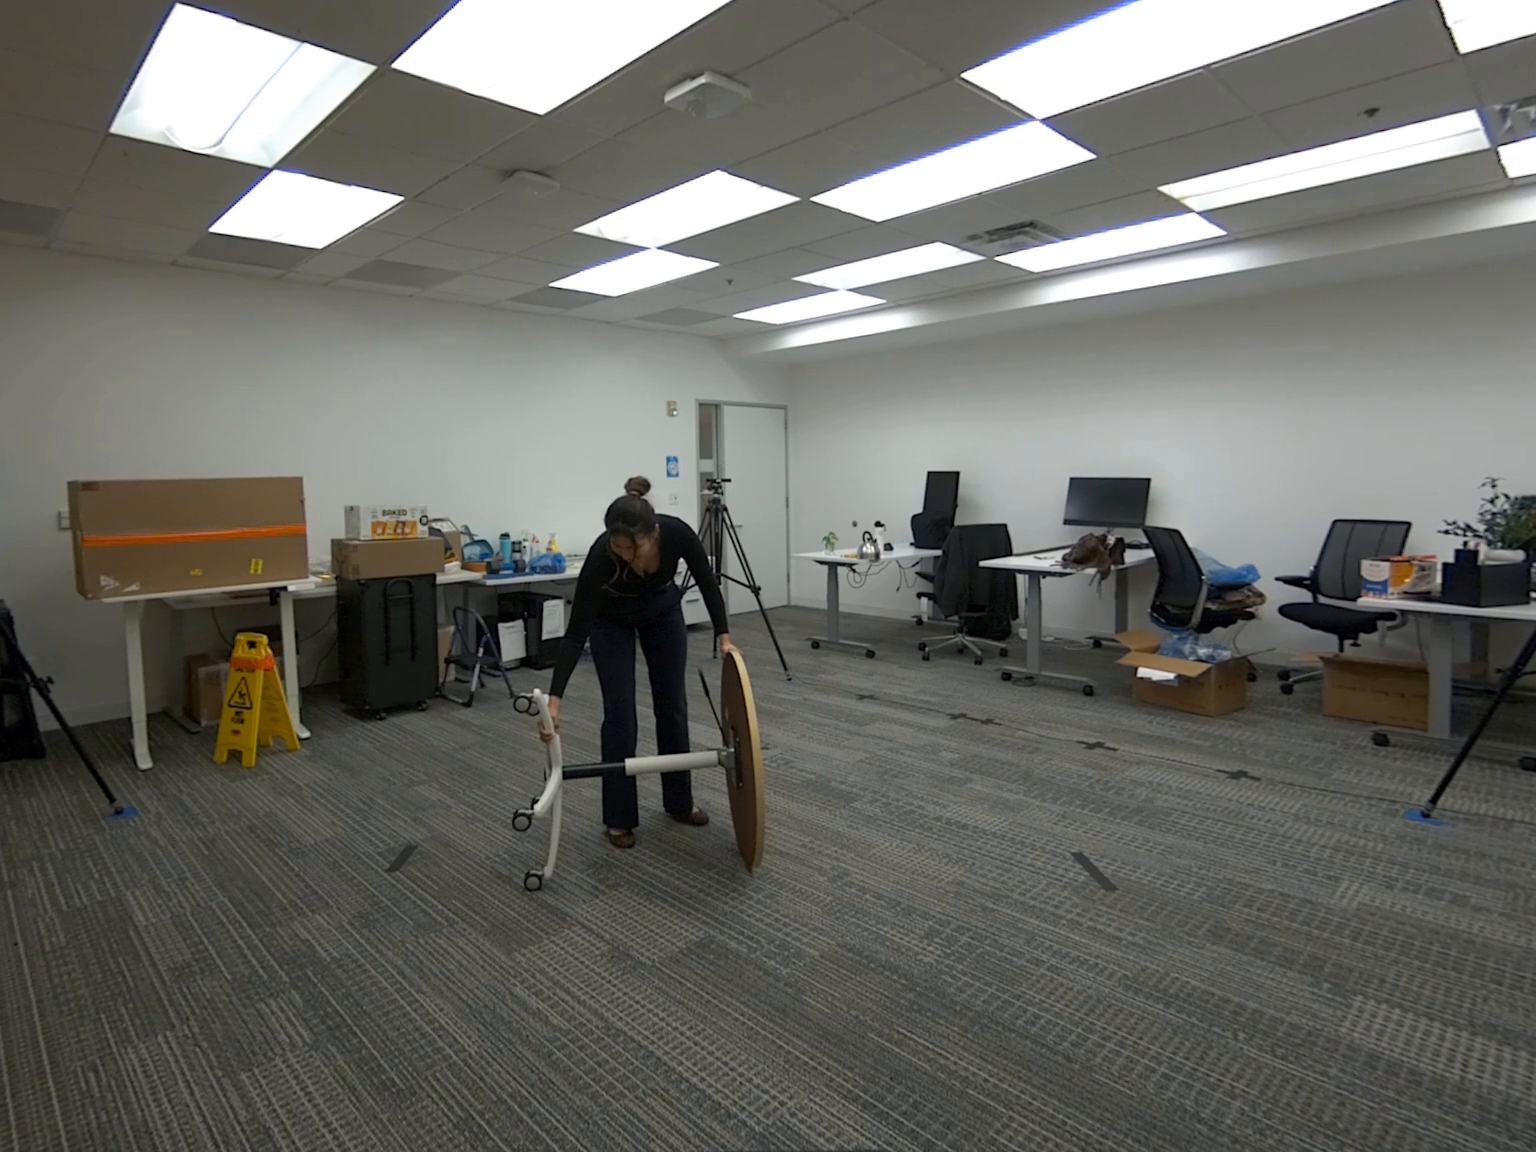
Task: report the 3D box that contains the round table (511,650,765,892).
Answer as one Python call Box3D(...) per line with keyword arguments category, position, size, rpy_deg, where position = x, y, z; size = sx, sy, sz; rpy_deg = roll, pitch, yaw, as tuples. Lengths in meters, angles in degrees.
Box3D(category="round table", position=(-0.475, 0.691, 3.068), size=(0.788, 0.761, 0.773), rpy_deg=(-4, 5, -9))
